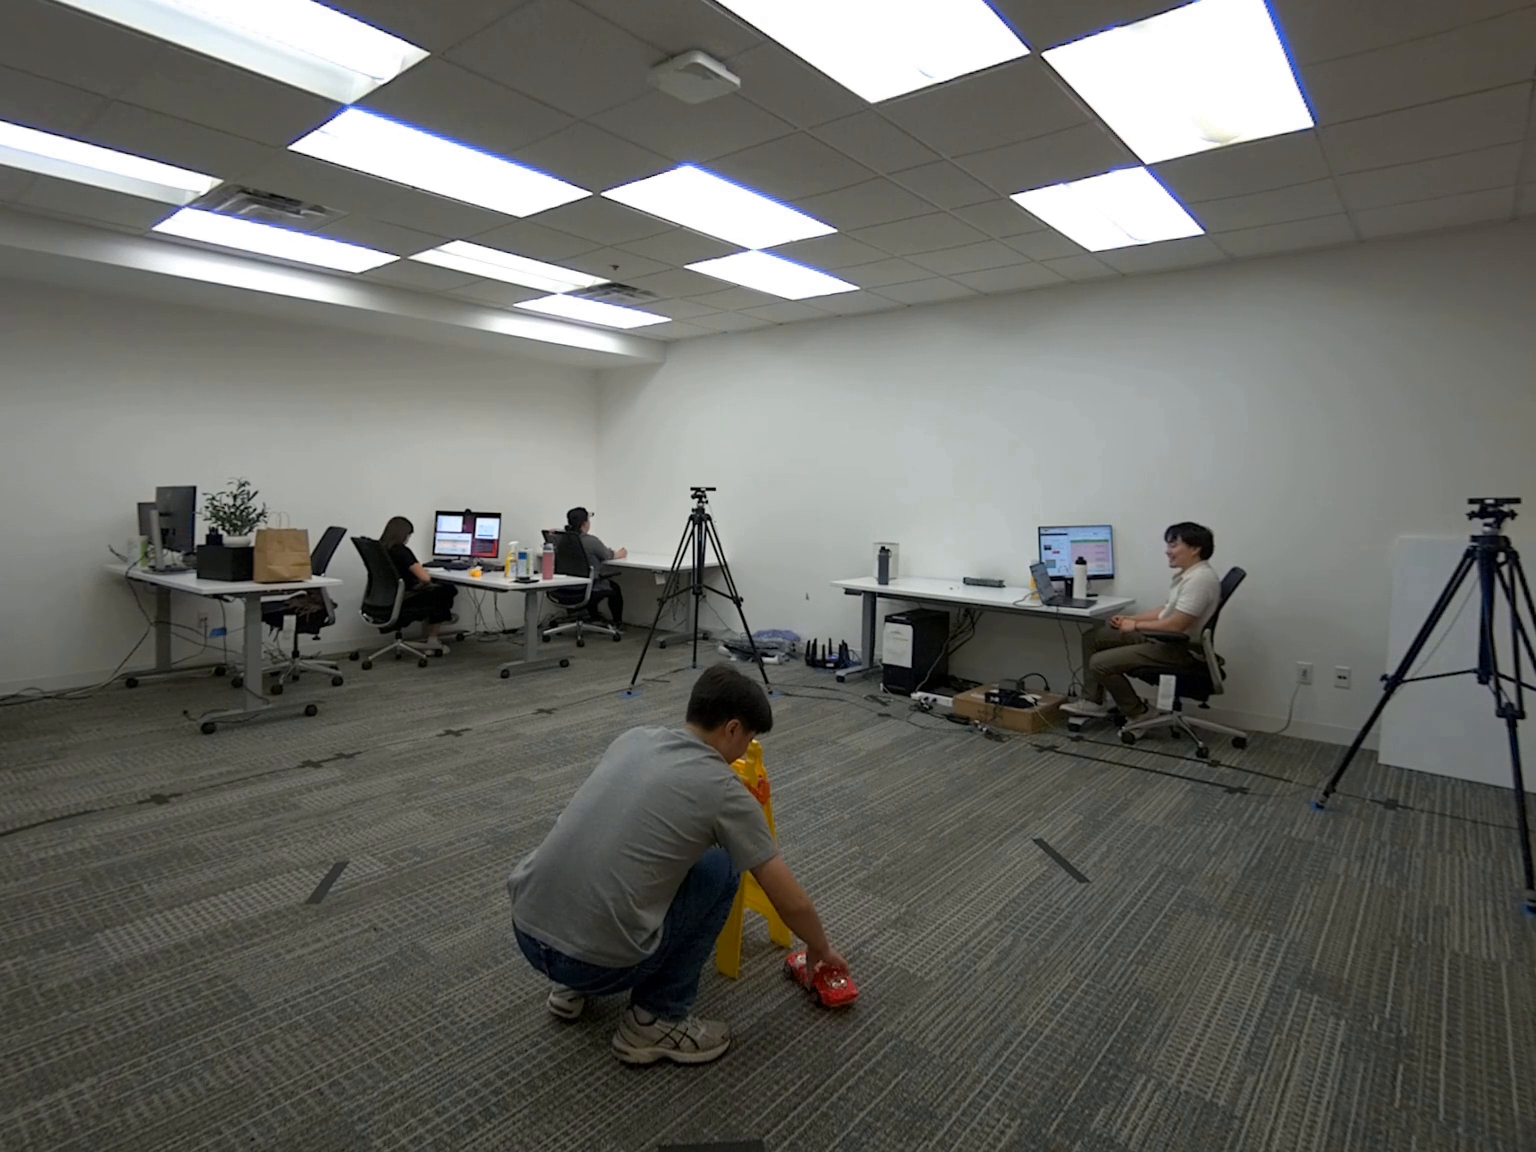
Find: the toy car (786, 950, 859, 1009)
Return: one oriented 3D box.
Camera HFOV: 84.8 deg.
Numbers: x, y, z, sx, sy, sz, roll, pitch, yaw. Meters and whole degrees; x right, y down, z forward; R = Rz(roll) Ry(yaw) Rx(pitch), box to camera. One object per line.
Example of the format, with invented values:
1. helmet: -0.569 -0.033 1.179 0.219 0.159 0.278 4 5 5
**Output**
1. toy car: 0.149 1.125 2.339 0.127 0.084 0.259 -2 -5 -29
